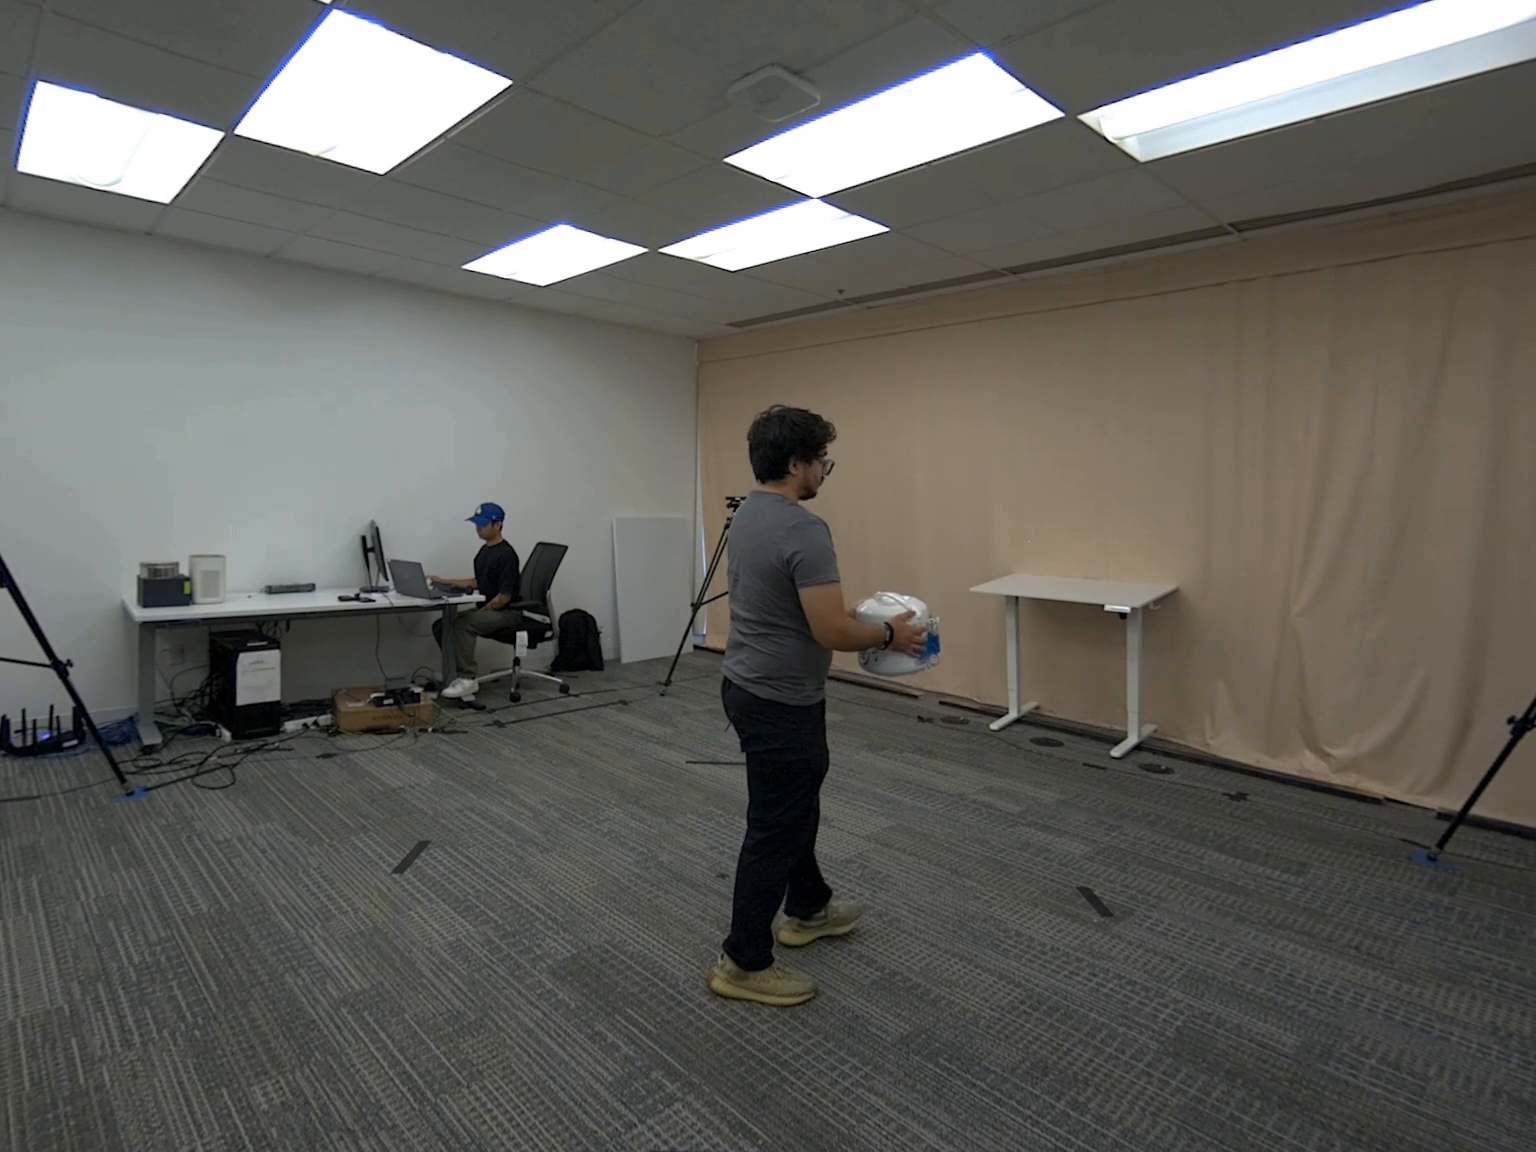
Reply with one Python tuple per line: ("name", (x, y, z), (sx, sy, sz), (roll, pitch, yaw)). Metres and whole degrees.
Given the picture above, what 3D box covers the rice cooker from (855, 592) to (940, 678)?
("rice cooker", (0.363, 0.167, 2.476), (0.214, 0.231, 0.225), (-7, 9, -26))
